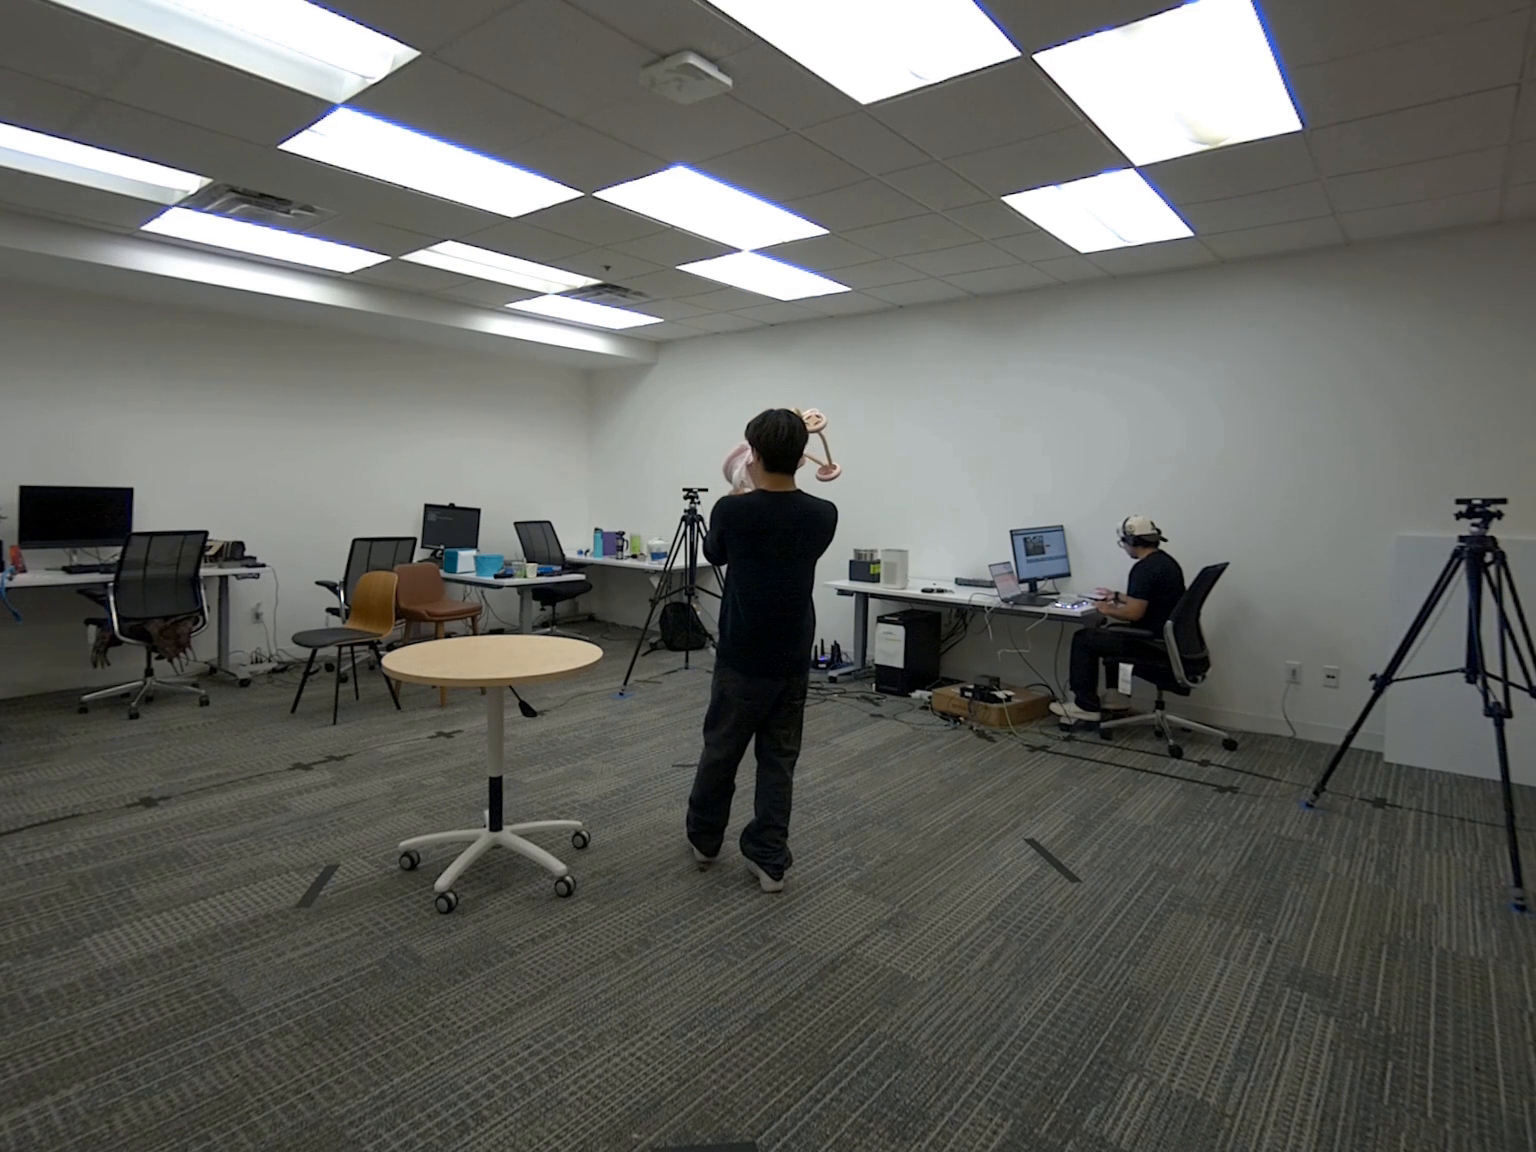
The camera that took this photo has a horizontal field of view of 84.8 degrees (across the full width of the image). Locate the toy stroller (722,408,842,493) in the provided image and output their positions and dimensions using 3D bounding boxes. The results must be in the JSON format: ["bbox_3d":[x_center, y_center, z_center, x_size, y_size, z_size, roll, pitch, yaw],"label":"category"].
[{"bbox_3d":[0.030,-0.506,3.483,0.533,0.271,0.356,-29,44,-7],"label":"toy stroller"}]
